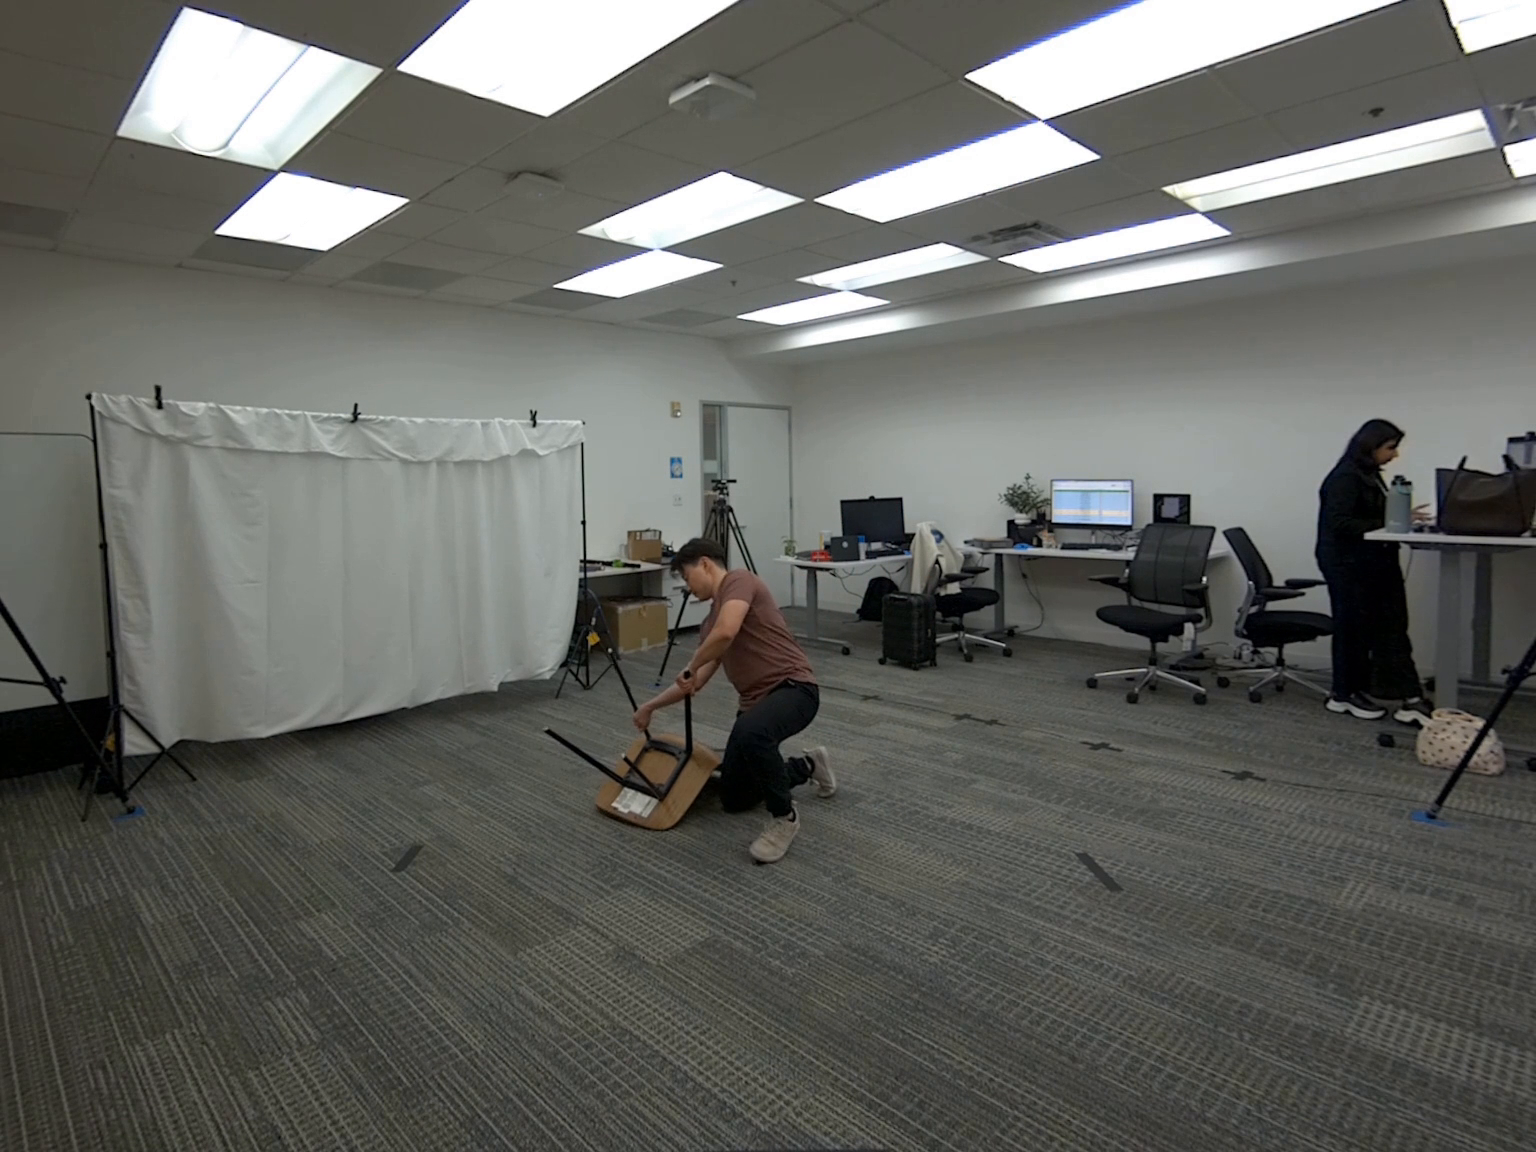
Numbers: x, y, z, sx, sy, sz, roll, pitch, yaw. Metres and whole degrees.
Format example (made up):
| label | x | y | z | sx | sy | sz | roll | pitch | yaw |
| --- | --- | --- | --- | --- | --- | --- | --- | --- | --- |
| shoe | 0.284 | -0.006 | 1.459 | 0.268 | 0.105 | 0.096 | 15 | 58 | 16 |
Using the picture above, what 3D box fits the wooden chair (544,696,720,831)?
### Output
| label | x | y | z | sx | sy | sz | roll | pitch | yaw |
| --- | --- | --- | --- | --- | --- | --- | --- | --- | --- |
| wooden chair | -0.485 | 0.819 | 3.645 | 0.492 | 0.846 | 0.526 | 6 | 48 | 35 |
